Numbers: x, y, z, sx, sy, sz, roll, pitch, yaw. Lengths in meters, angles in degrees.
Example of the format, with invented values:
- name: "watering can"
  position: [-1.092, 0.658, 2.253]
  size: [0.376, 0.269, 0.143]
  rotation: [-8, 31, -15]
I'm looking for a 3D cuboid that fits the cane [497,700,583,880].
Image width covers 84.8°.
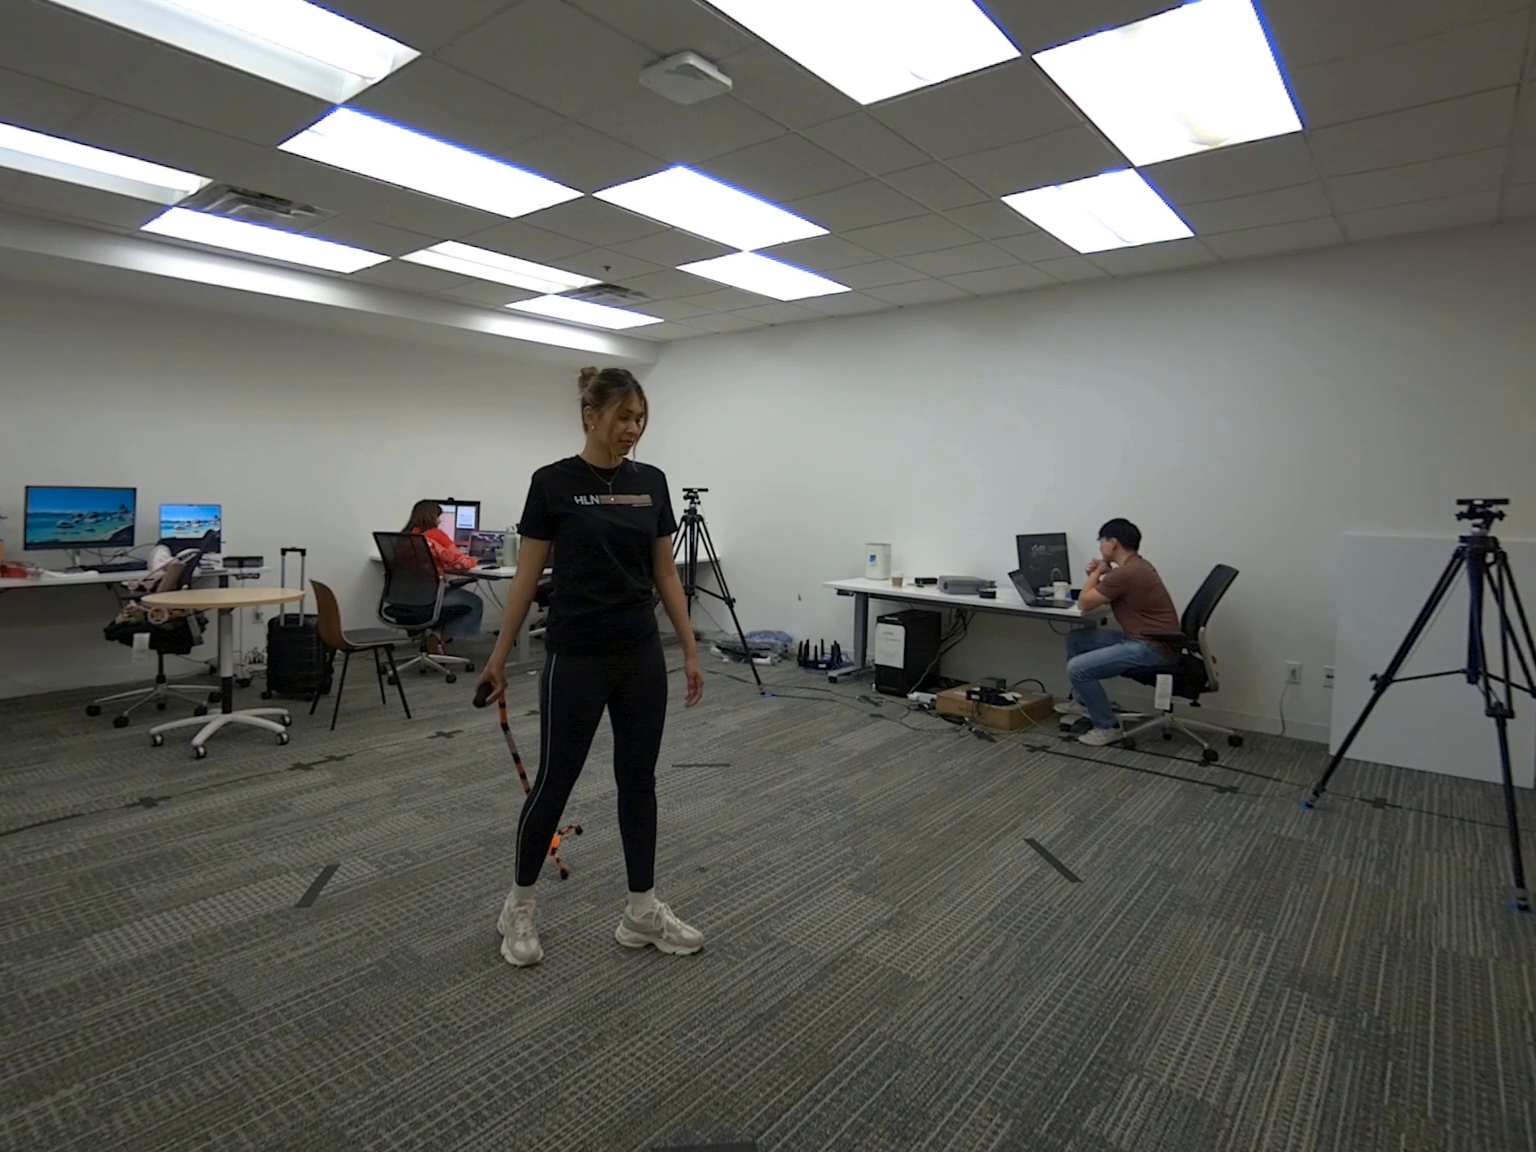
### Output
- name: "cane"
  position: [-0.817, 0.655, 2.833]
  size: [0.153, 0.879, 0.211]
  rotation: [0, 38, 9]
